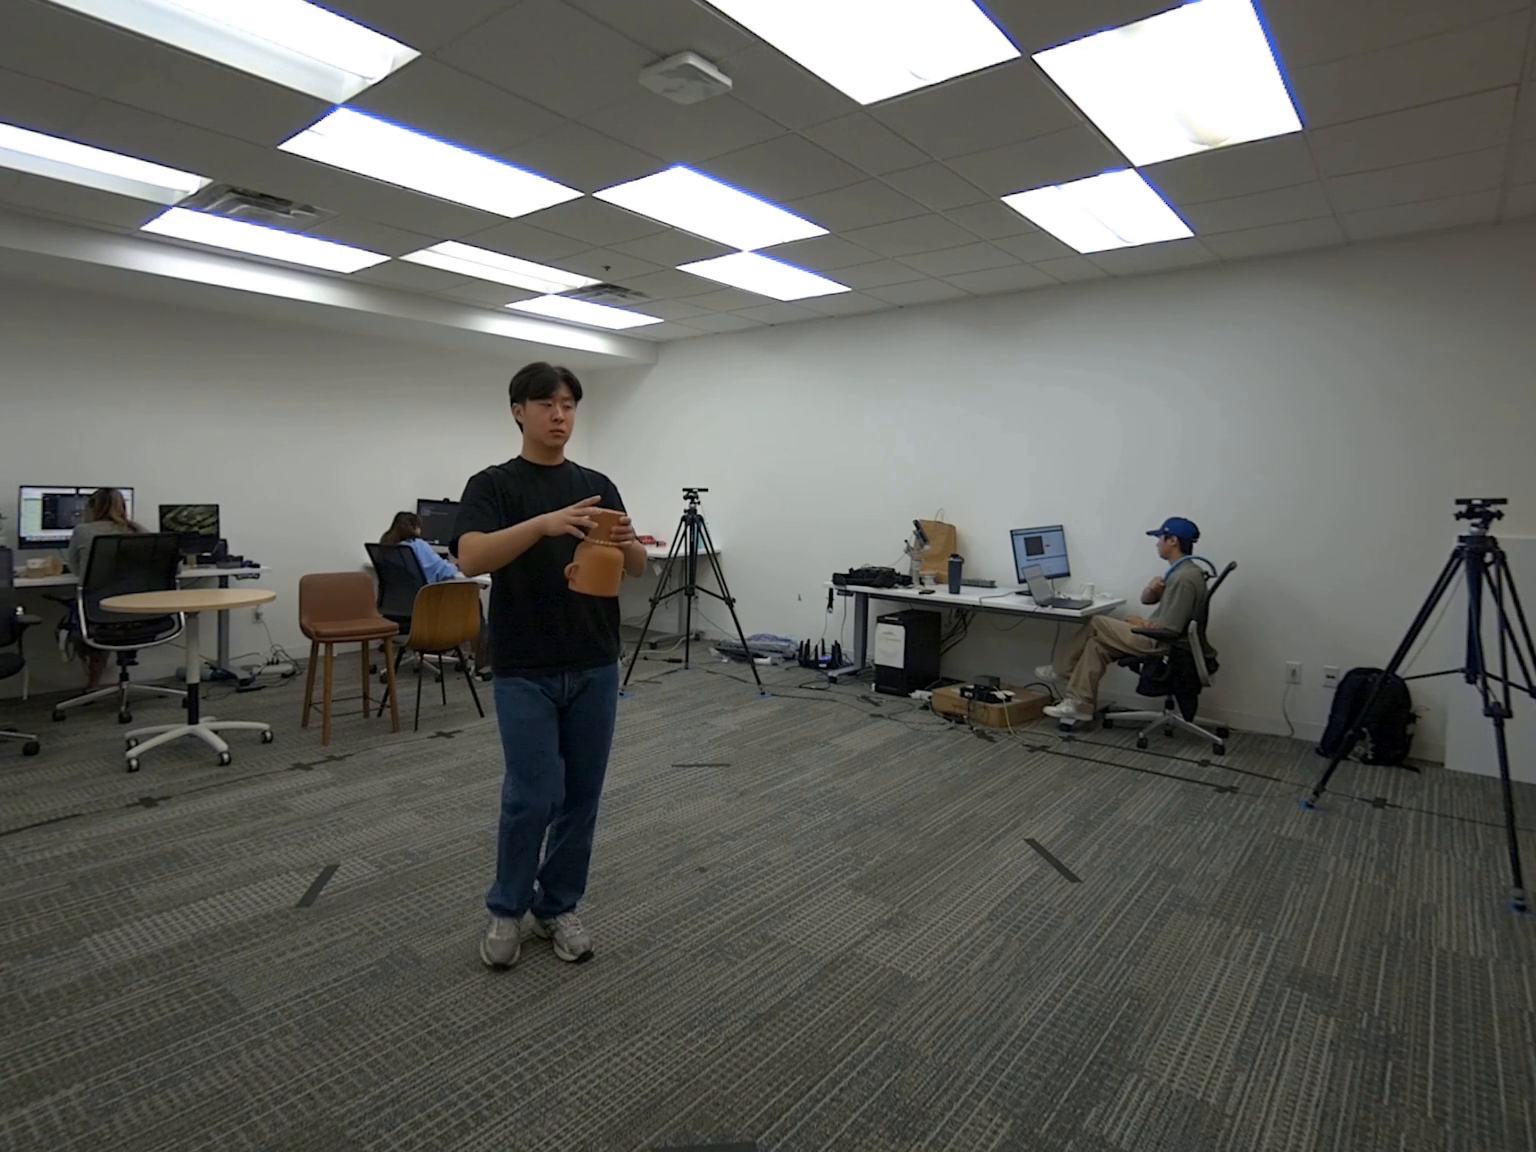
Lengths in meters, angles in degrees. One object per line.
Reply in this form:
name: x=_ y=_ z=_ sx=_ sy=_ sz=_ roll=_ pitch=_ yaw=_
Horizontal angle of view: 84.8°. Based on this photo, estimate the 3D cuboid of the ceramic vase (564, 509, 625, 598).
ceramic vase: x=-0.466 y=-0.069 z=2.256 sx=0.136 sy=0.219 sz=0.158 roll=12 pitch=5 yaw=5
